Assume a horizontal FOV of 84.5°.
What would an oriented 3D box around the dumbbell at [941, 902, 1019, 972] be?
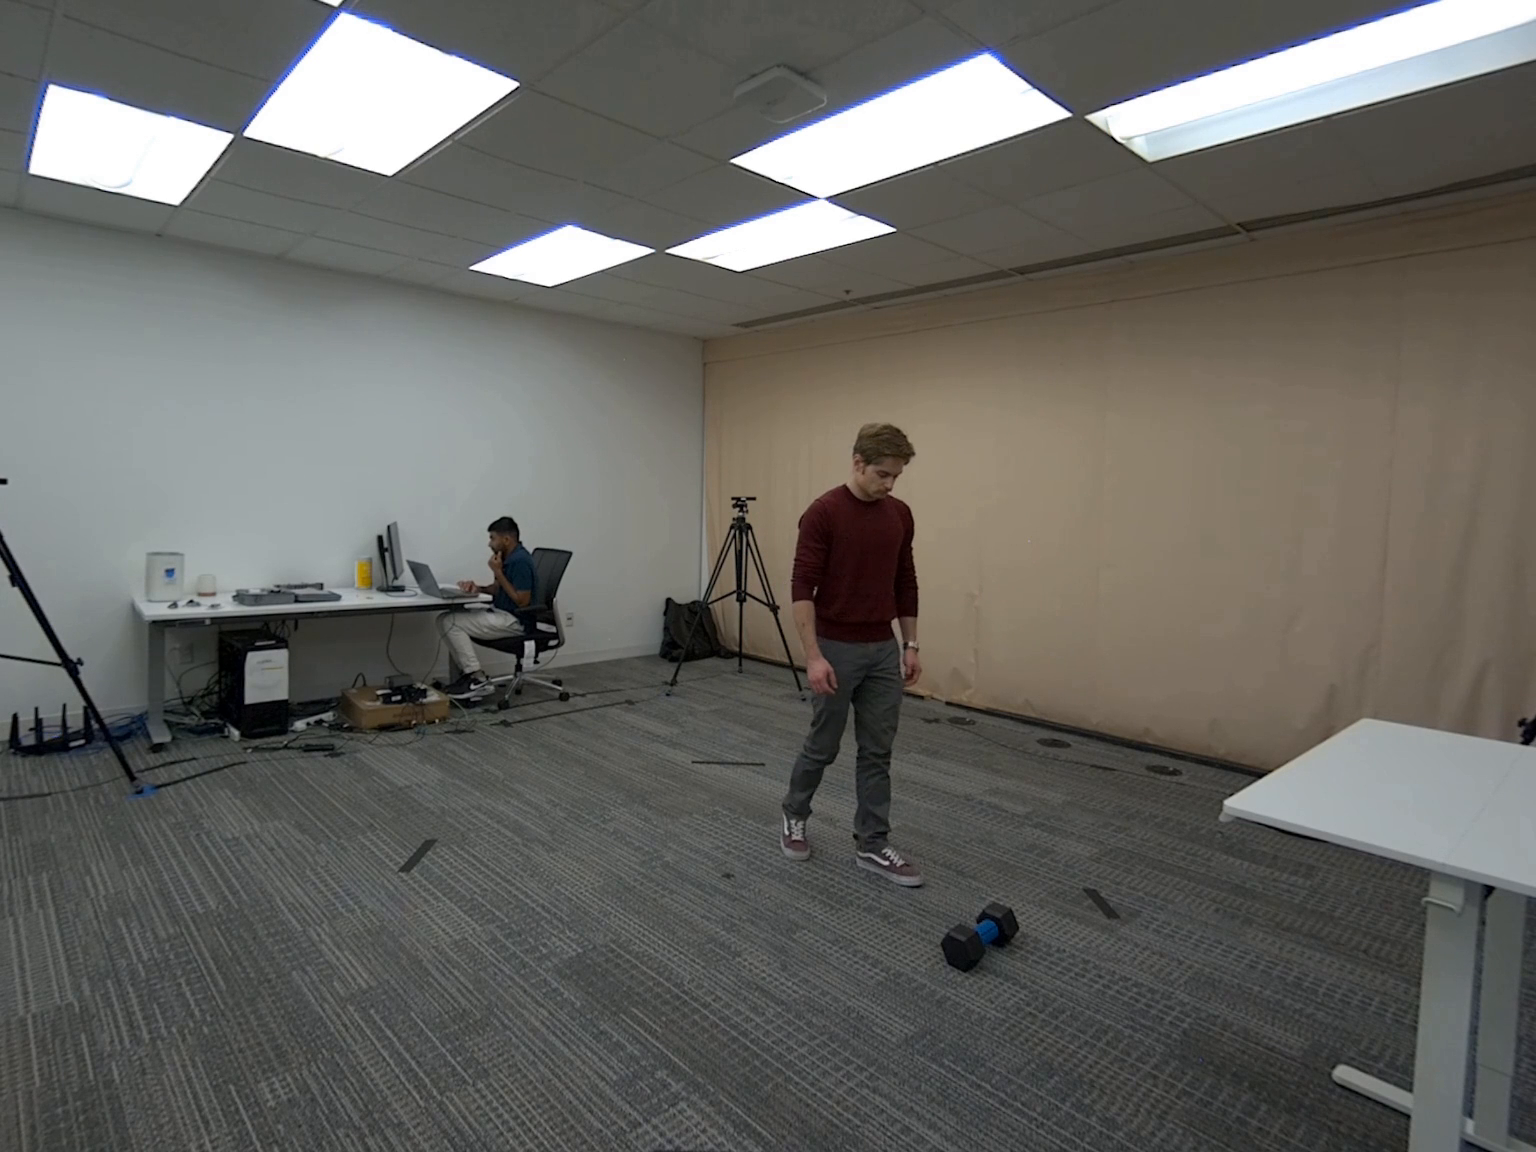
[{"bbox_3d":[0.657,1.118,2.612,0.287,0.122,0.112,-5,39,-46],"label":"dumbbell"}]
